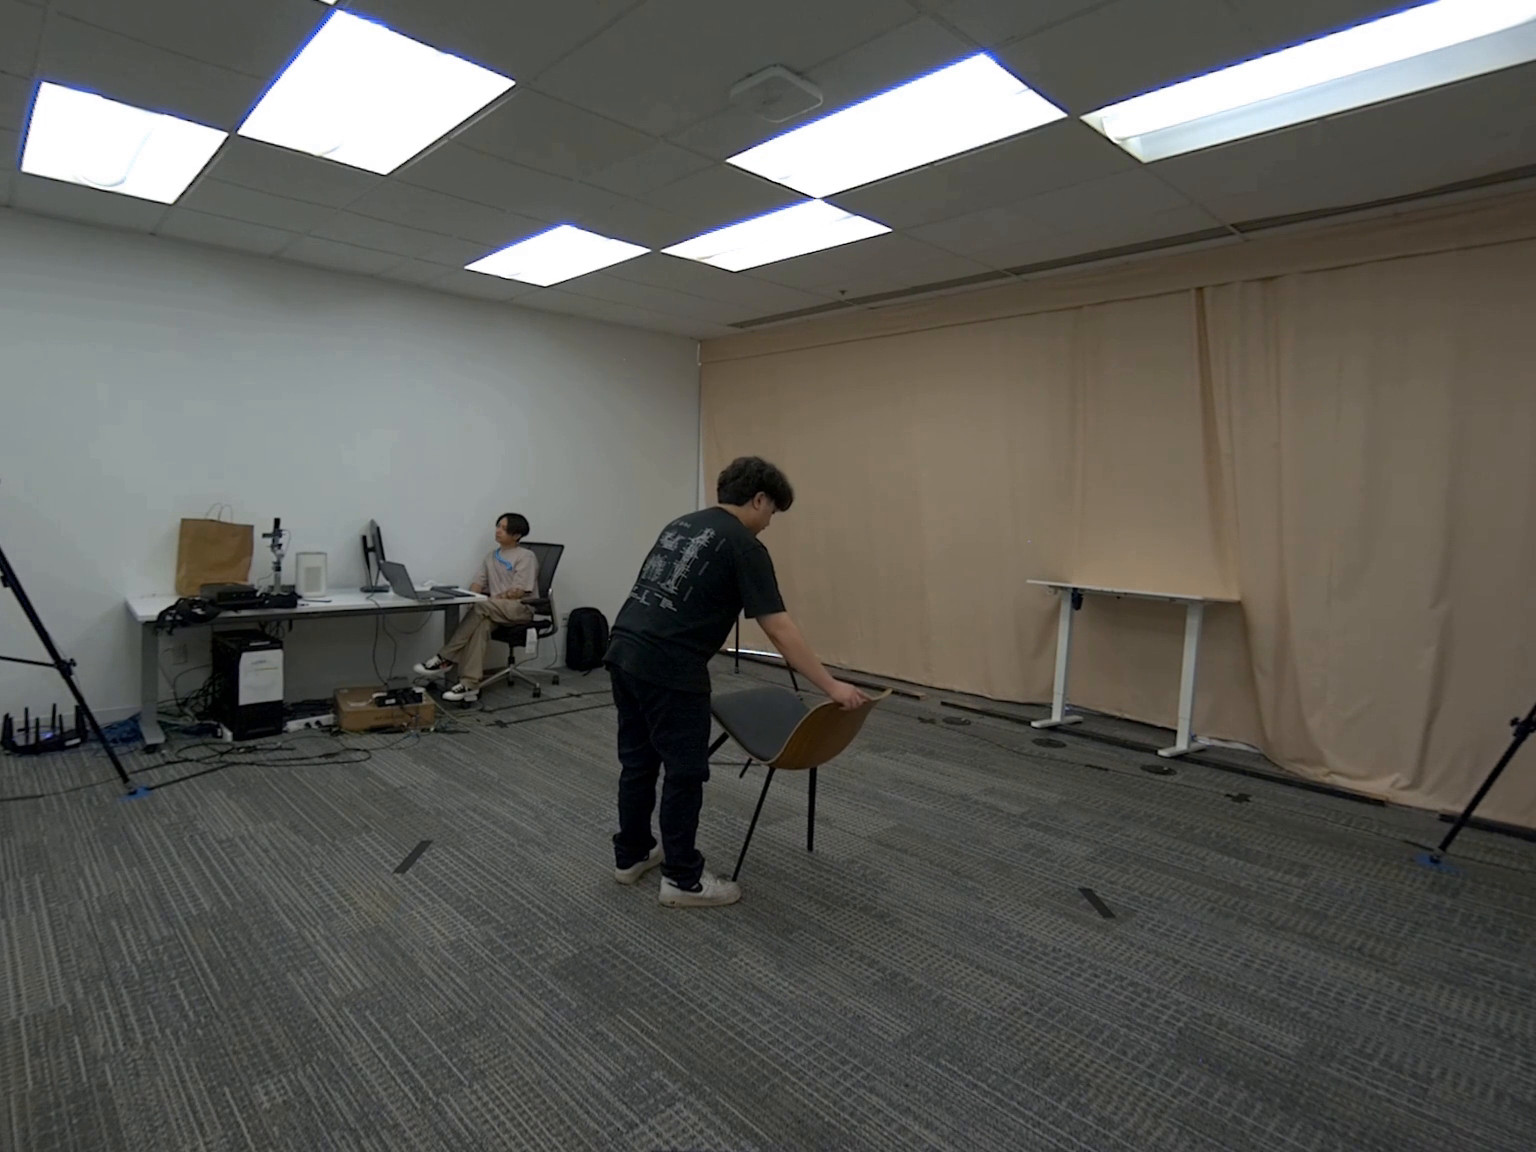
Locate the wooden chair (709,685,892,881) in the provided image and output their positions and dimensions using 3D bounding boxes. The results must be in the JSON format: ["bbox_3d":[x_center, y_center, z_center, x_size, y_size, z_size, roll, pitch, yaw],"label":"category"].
[{"bbox_3d":[0.020,0.616,3.179,0.467,0.871,0.539,-3,38,-45],"label":"wooden chair"}]
